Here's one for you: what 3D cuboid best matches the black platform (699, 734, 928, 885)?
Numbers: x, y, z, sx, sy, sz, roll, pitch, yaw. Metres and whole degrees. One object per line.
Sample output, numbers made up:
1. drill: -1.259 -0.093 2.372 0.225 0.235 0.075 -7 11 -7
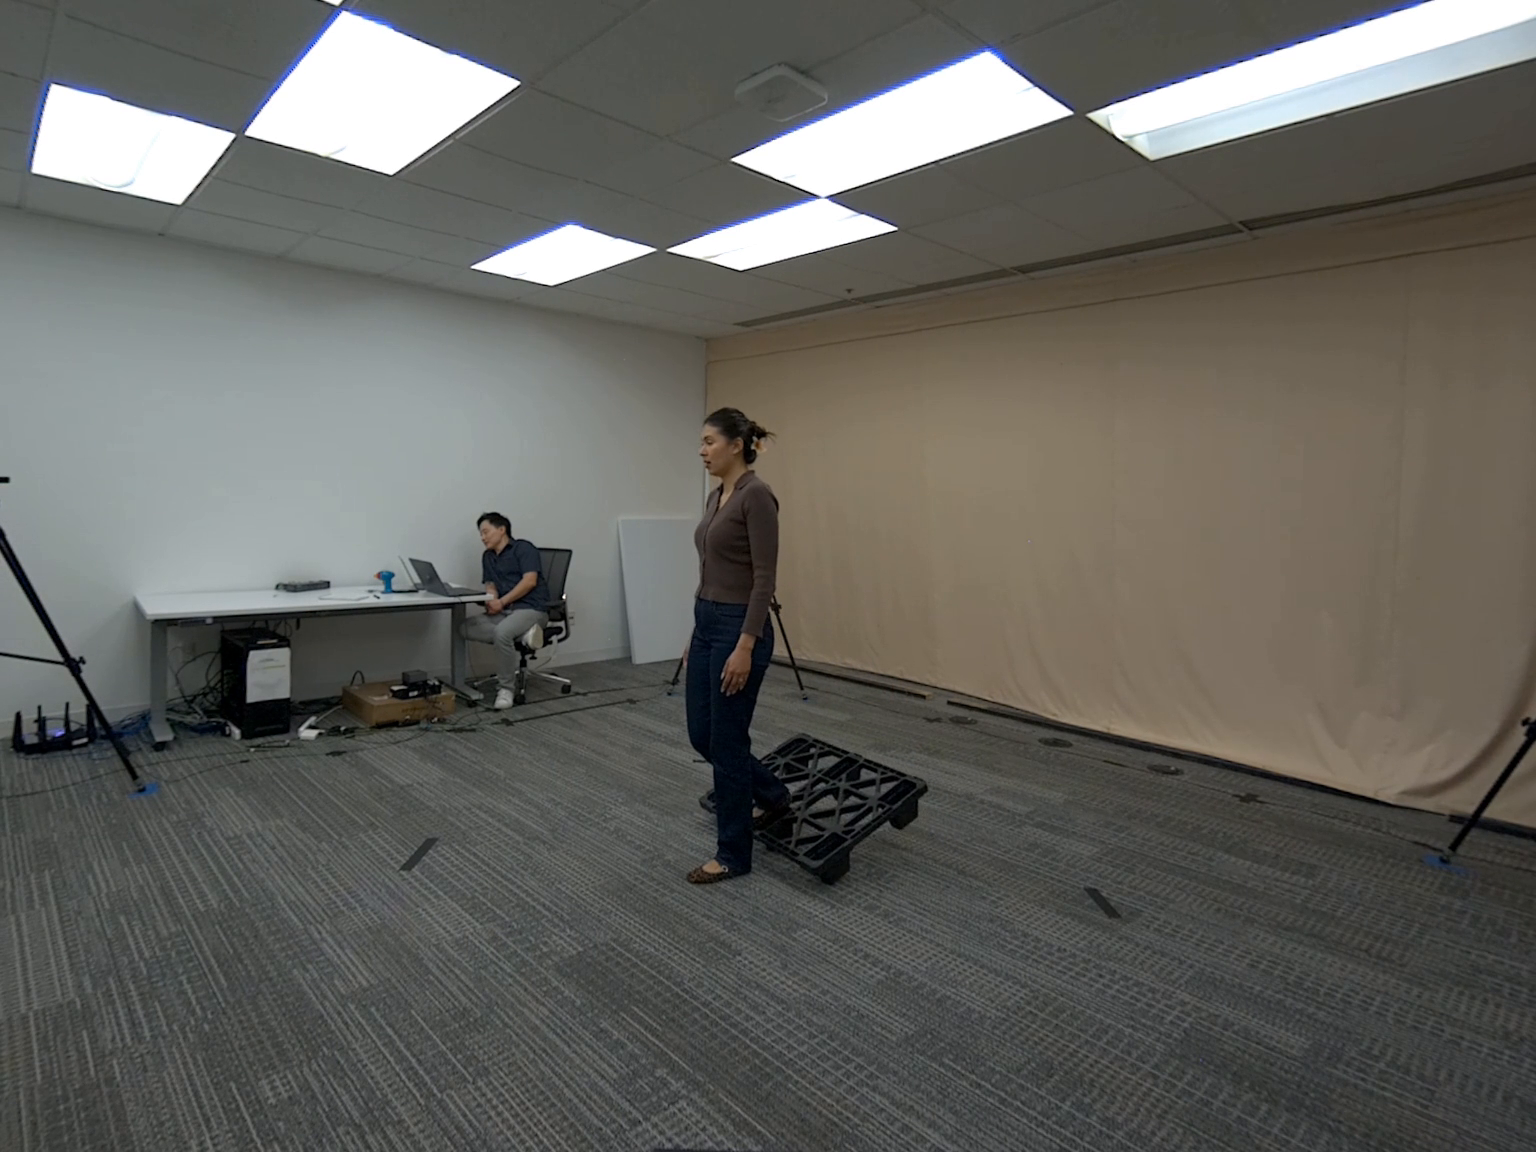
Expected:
1. black platform: 0.172 0.947 3.441 0.599 0.141 0.825 -27 19 -30
